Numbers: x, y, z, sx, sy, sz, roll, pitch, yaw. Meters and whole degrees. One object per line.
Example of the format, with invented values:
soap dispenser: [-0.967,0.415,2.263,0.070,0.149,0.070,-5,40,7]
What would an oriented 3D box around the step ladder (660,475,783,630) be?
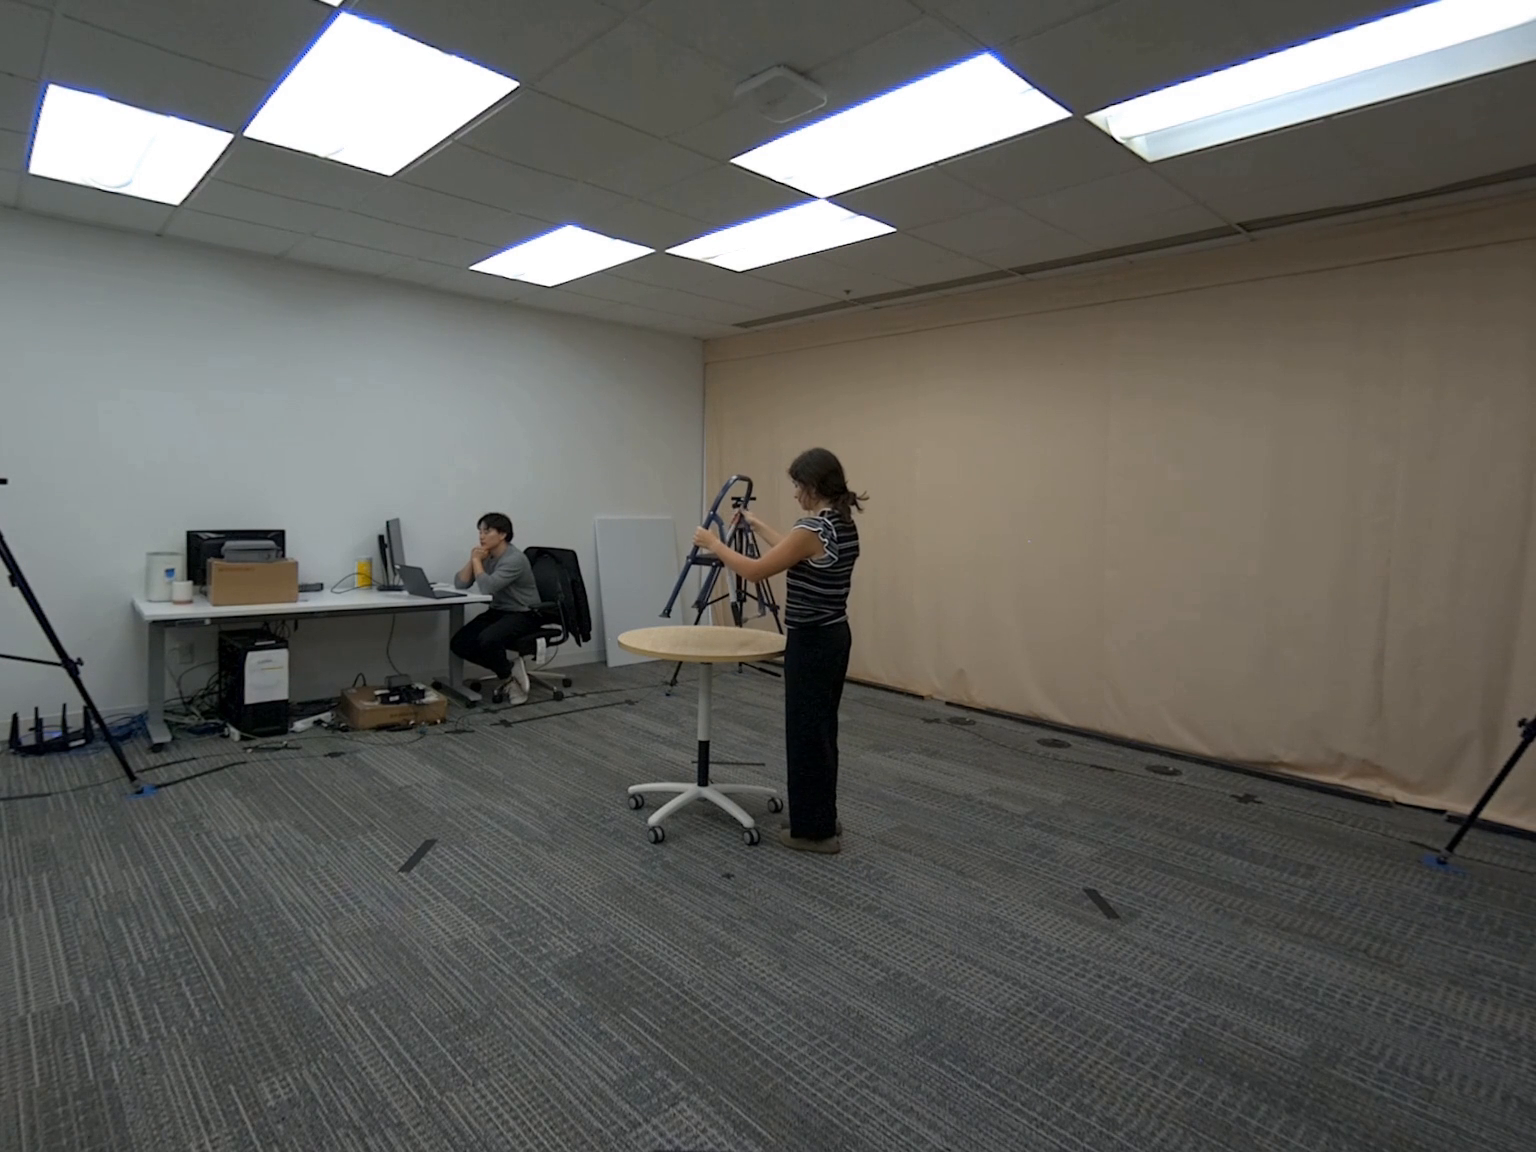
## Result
step ladder: [-0.209,-0.126,3.574,0.354,0.605,0.426,5,3,15]
